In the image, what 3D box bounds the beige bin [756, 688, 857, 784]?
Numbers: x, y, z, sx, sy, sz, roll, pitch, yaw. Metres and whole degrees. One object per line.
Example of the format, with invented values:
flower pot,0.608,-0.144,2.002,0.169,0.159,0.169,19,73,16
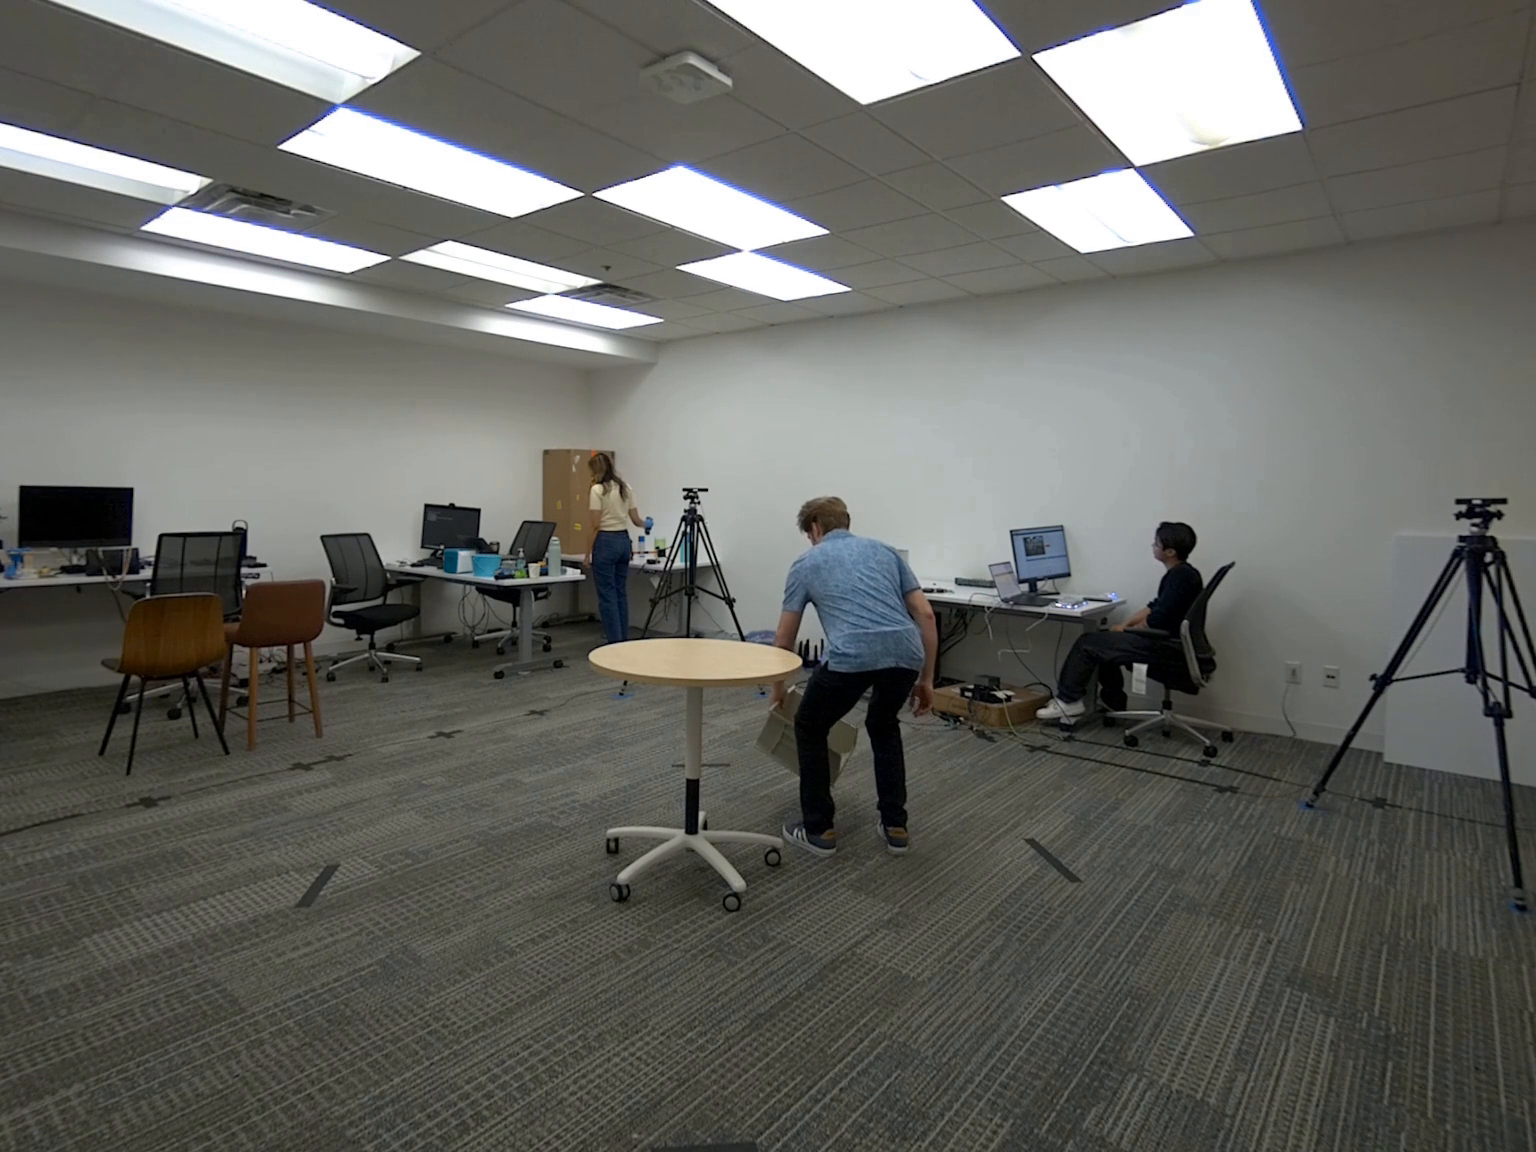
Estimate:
beige bin,0.175,0.695,3.693,0.384,0.188,0.417,29,13,12
